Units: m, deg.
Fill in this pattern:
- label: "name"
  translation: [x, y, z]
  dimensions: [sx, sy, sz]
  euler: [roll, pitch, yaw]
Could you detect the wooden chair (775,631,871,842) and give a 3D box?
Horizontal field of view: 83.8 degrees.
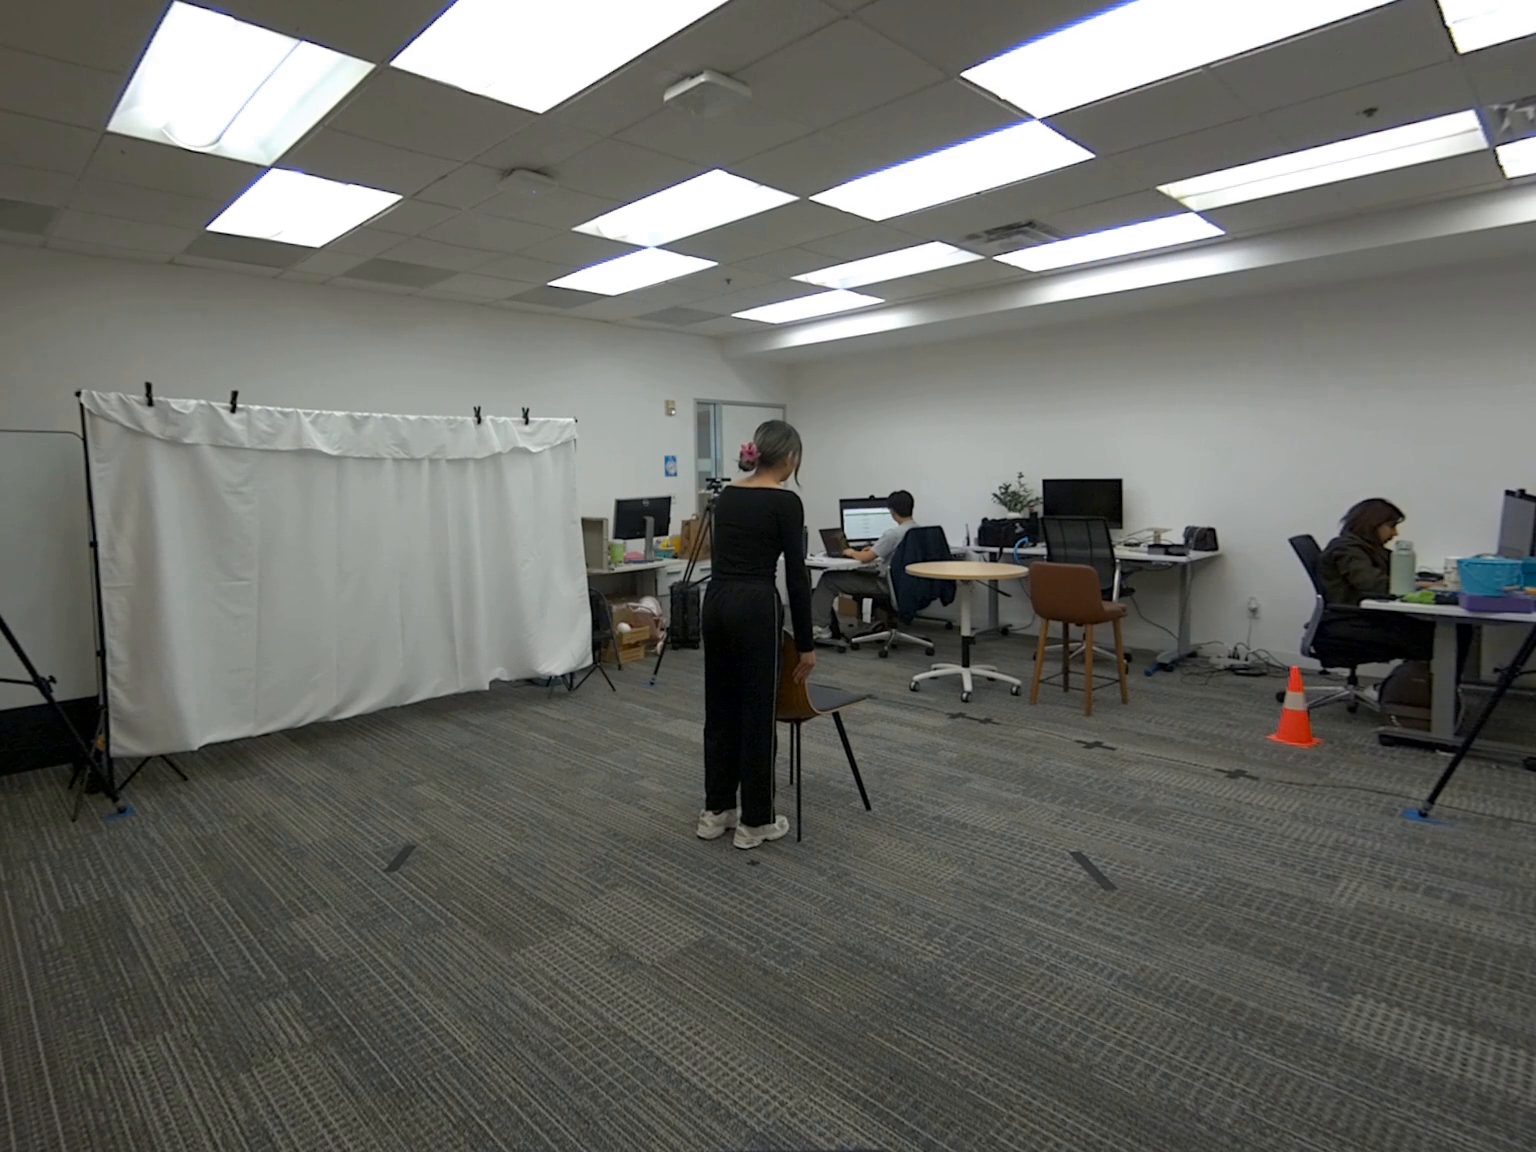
- label: "wooden chair"
  translation: [0.115, 0.558, 3.564]
  dimensions: [0.511, 0.871, 0.493]
  euler: [-11, 10, -43]
